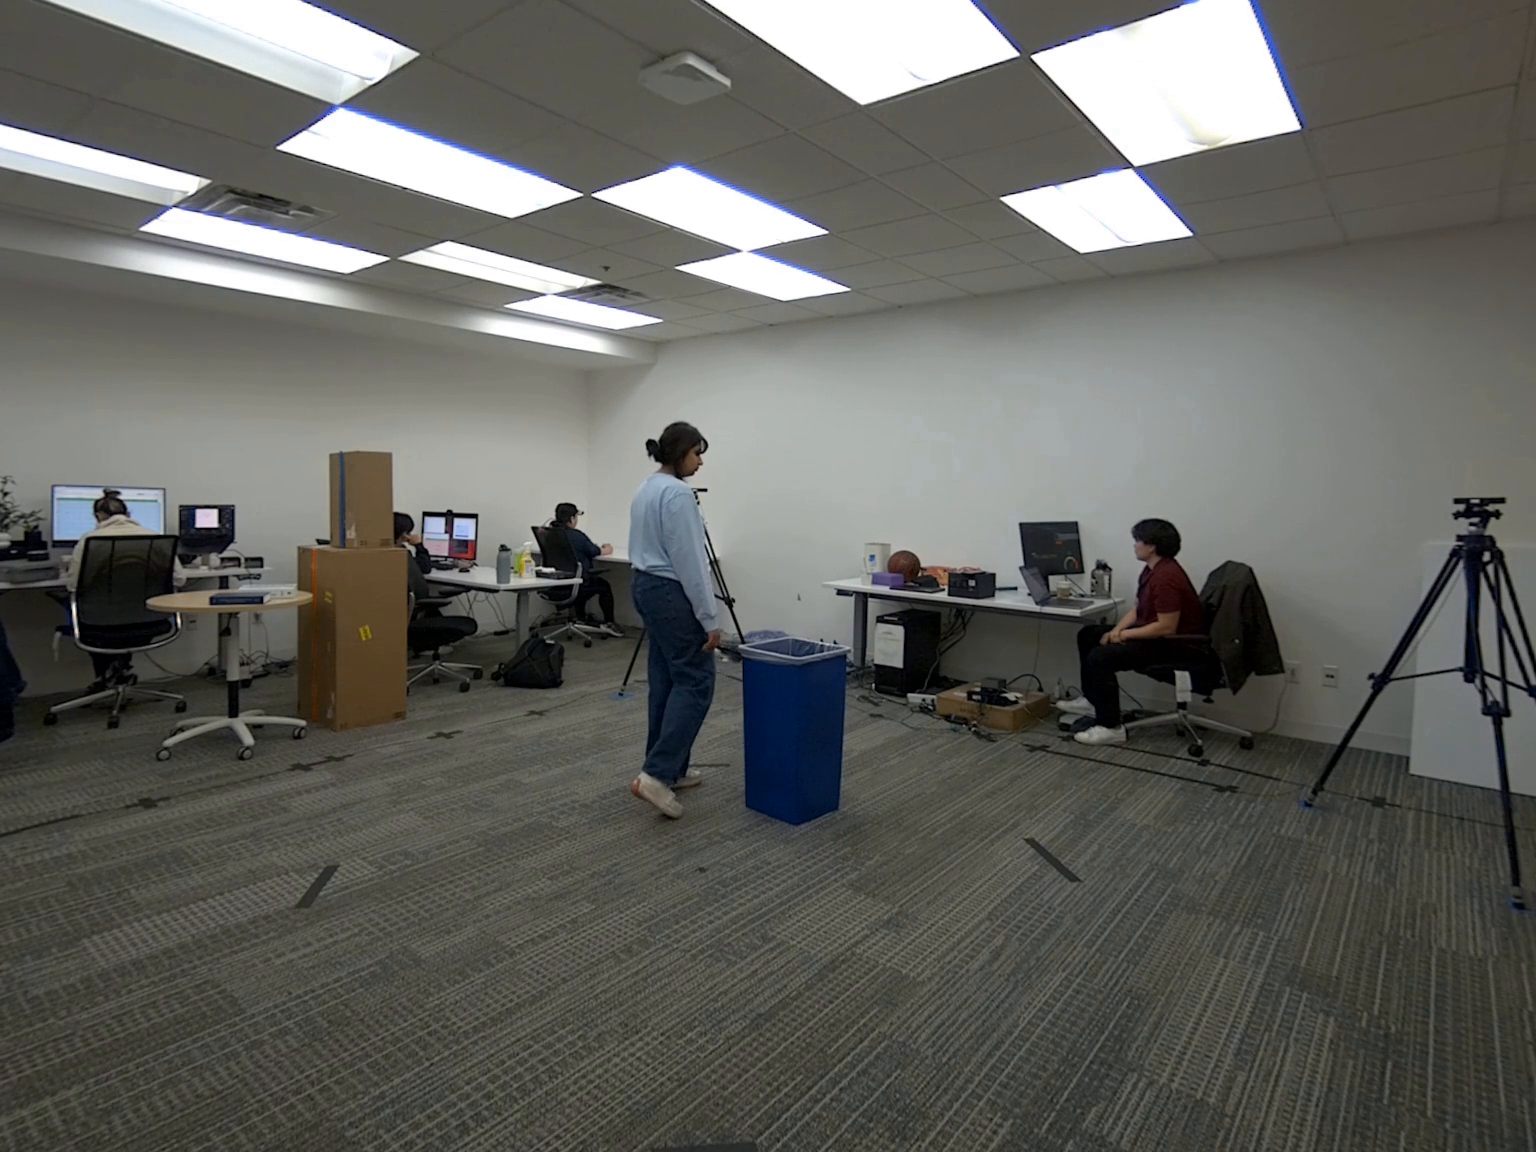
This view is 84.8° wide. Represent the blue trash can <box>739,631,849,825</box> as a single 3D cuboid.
[{"bbox_3d":[0.096,0.661,3.723,0.387,0.711,0.367,4,5,43],"label":"blue trash can"}]
